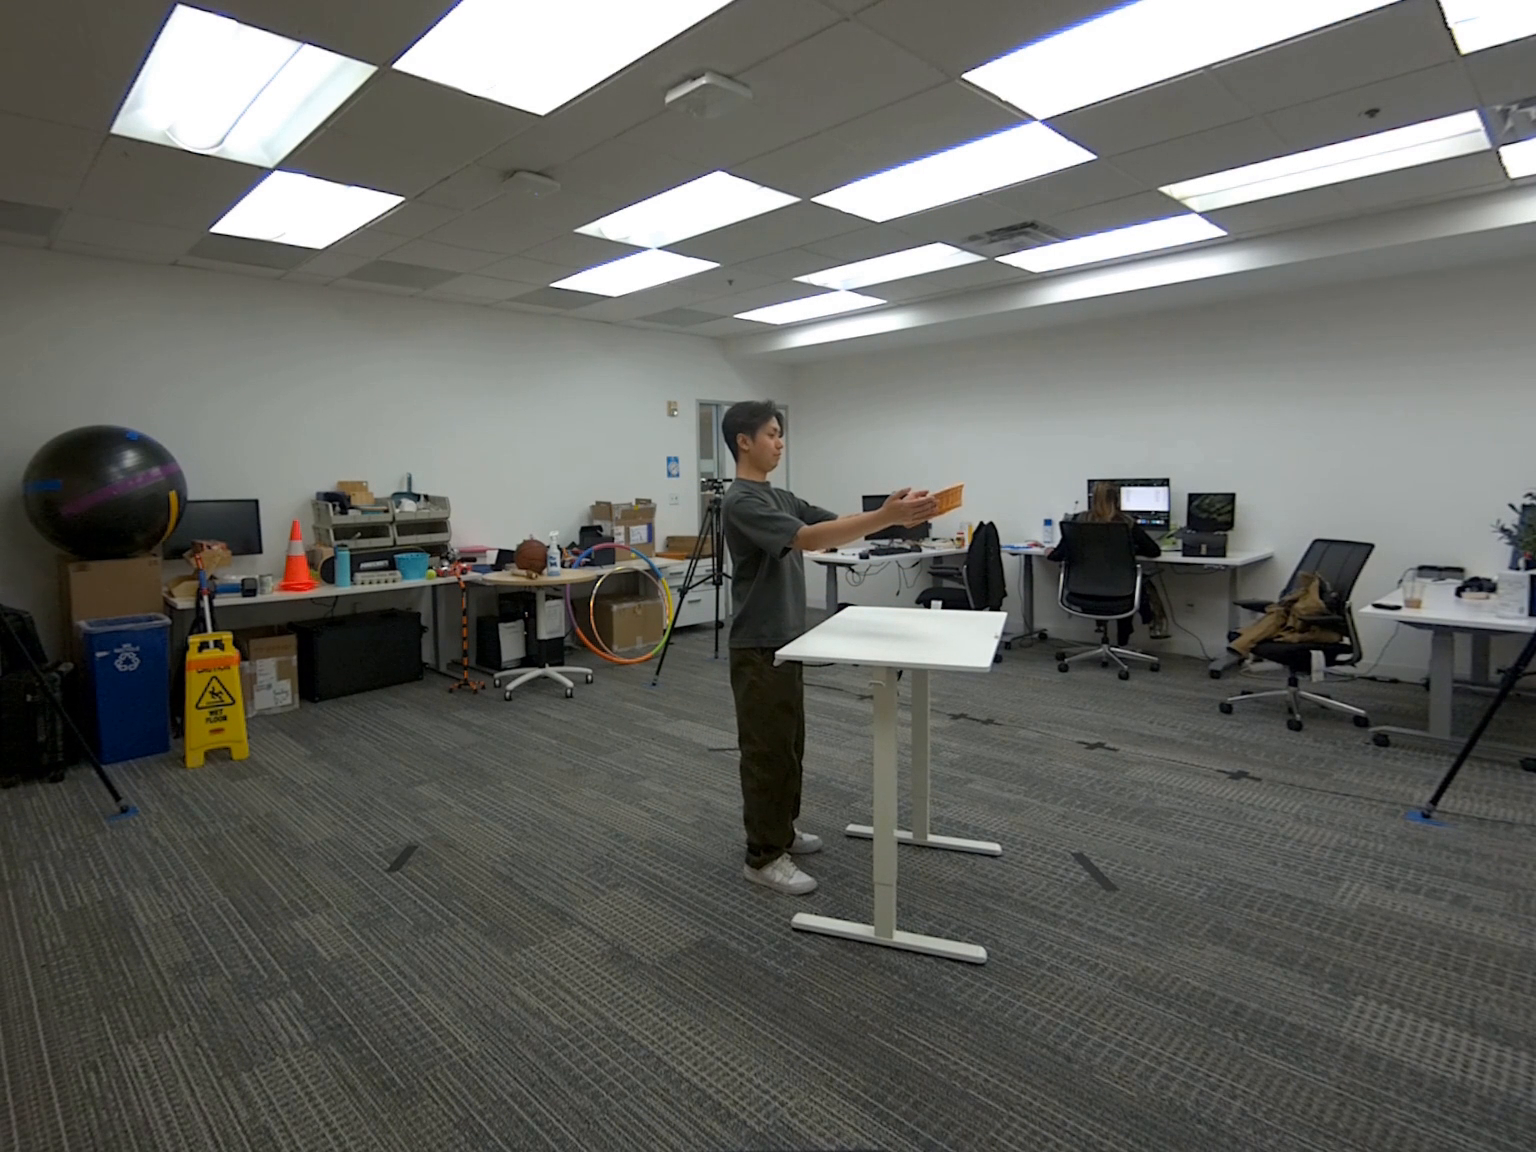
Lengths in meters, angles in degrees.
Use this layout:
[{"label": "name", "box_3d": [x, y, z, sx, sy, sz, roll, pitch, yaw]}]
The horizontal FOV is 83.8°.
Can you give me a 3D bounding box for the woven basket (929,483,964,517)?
[{"label": "woven basket", "box_3d": [0.512, -0.222, 2.815, 0.256, 0.073, 0.344, -21, -1, 39]}]
